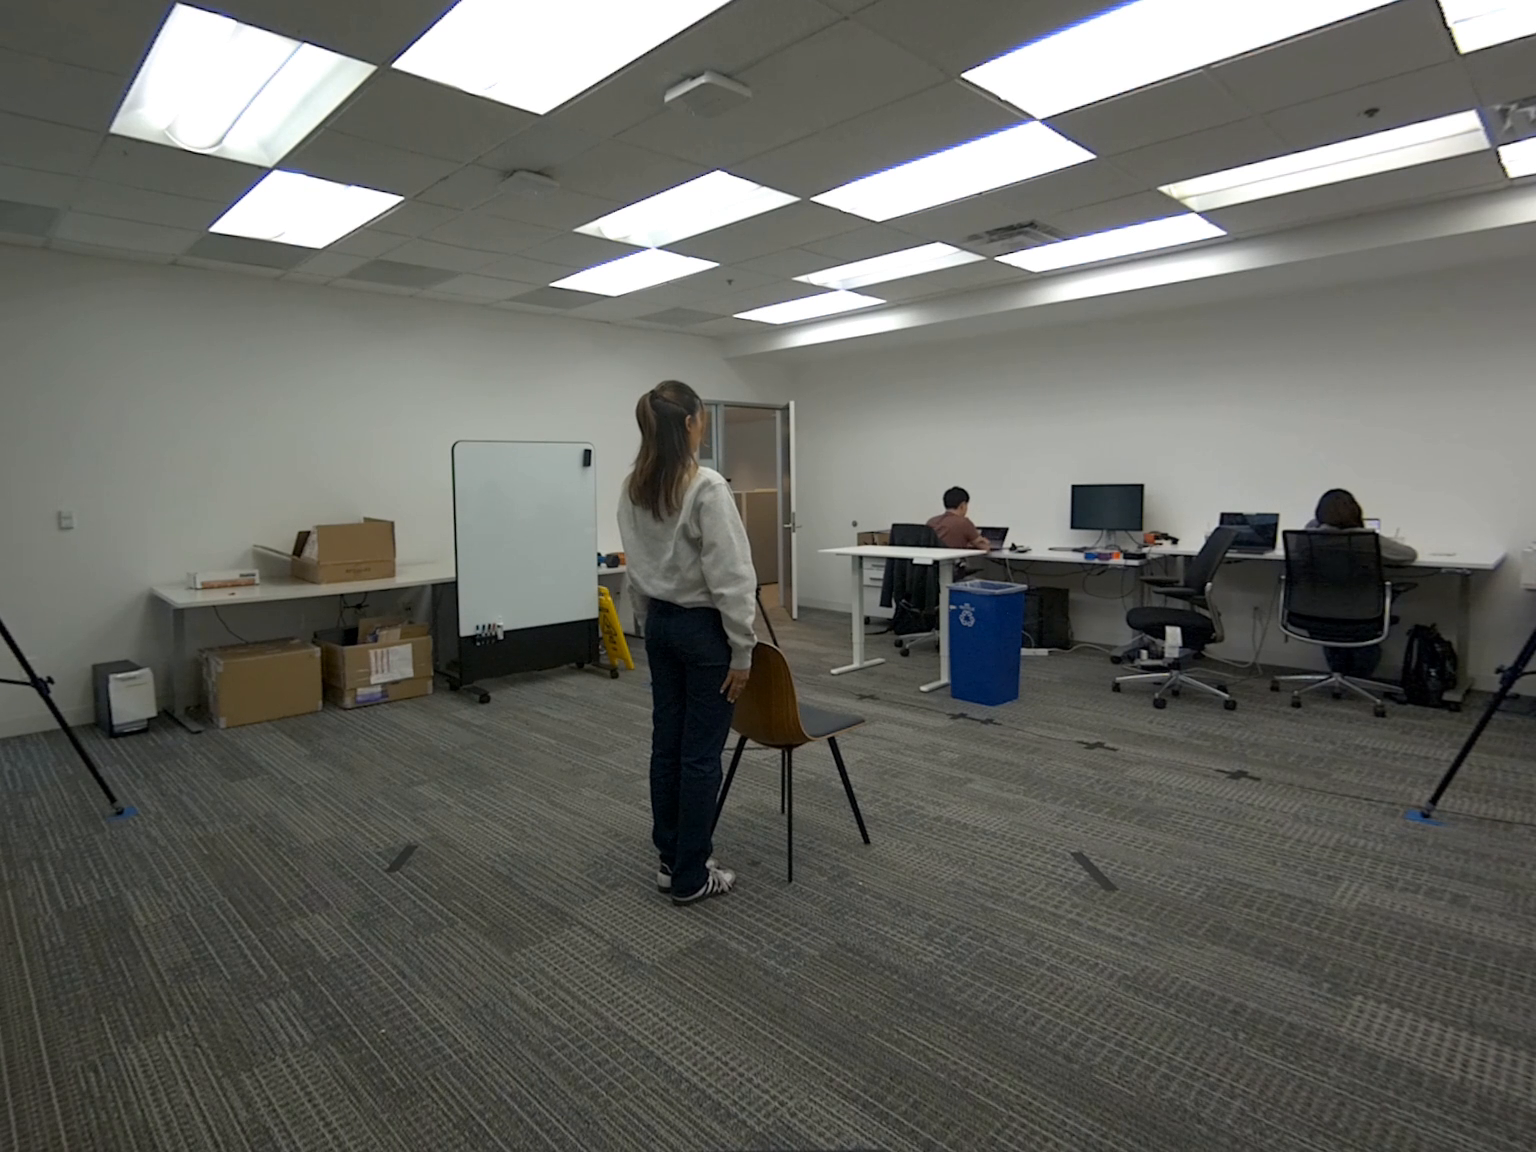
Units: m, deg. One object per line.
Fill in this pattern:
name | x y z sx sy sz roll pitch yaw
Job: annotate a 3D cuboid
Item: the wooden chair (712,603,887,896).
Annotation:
wooden chair | 0.071 0.602 3.240 0.493 0.871 0.511 3 10 45
